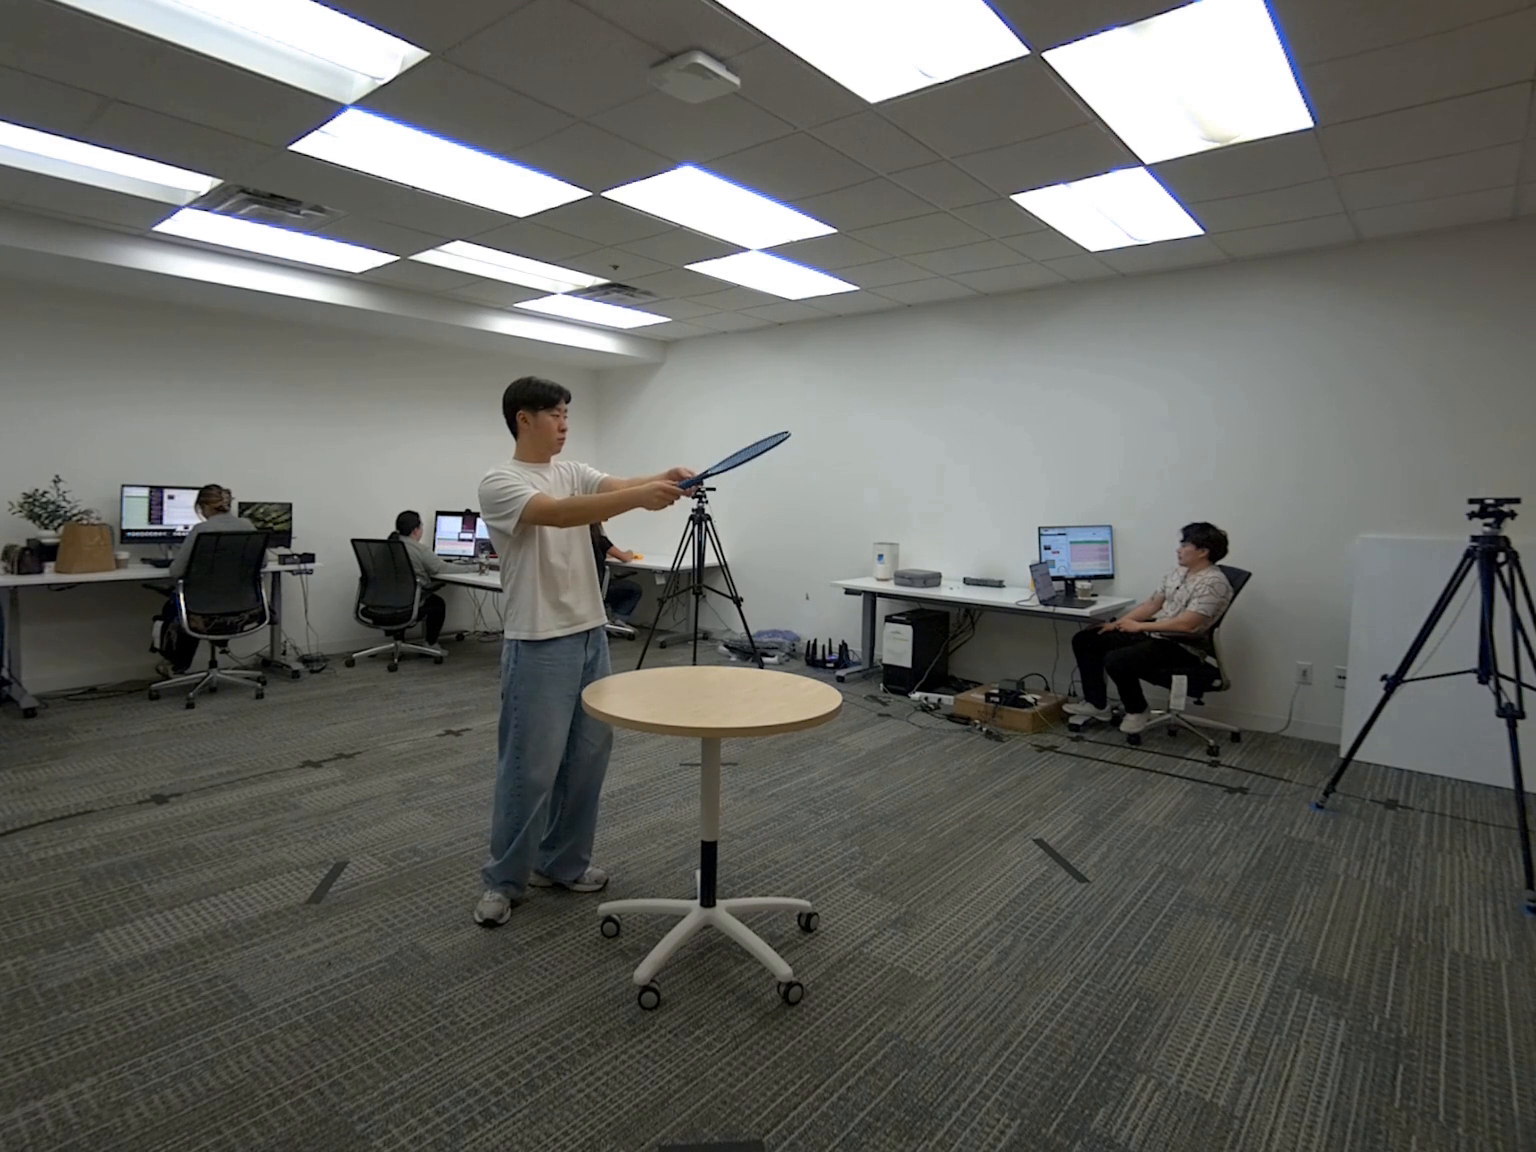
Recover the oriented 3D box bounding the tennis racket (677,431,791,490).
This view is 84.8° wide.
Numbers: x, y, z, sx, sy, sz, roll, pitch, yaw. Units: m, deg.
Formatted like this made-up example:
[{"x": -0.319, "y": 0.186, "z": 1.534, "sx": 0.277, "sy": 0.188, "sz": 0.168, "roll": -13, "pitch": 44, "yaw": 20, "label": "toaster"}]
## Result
[{"x": -0.144, "y": -0.318, "z": 2.478, "sx": 0.436, "sy": 0.031, "sz": 0.216, "roll": -25, "pitch": 16, "yaw": 12, "label": "tennis racket"}]
